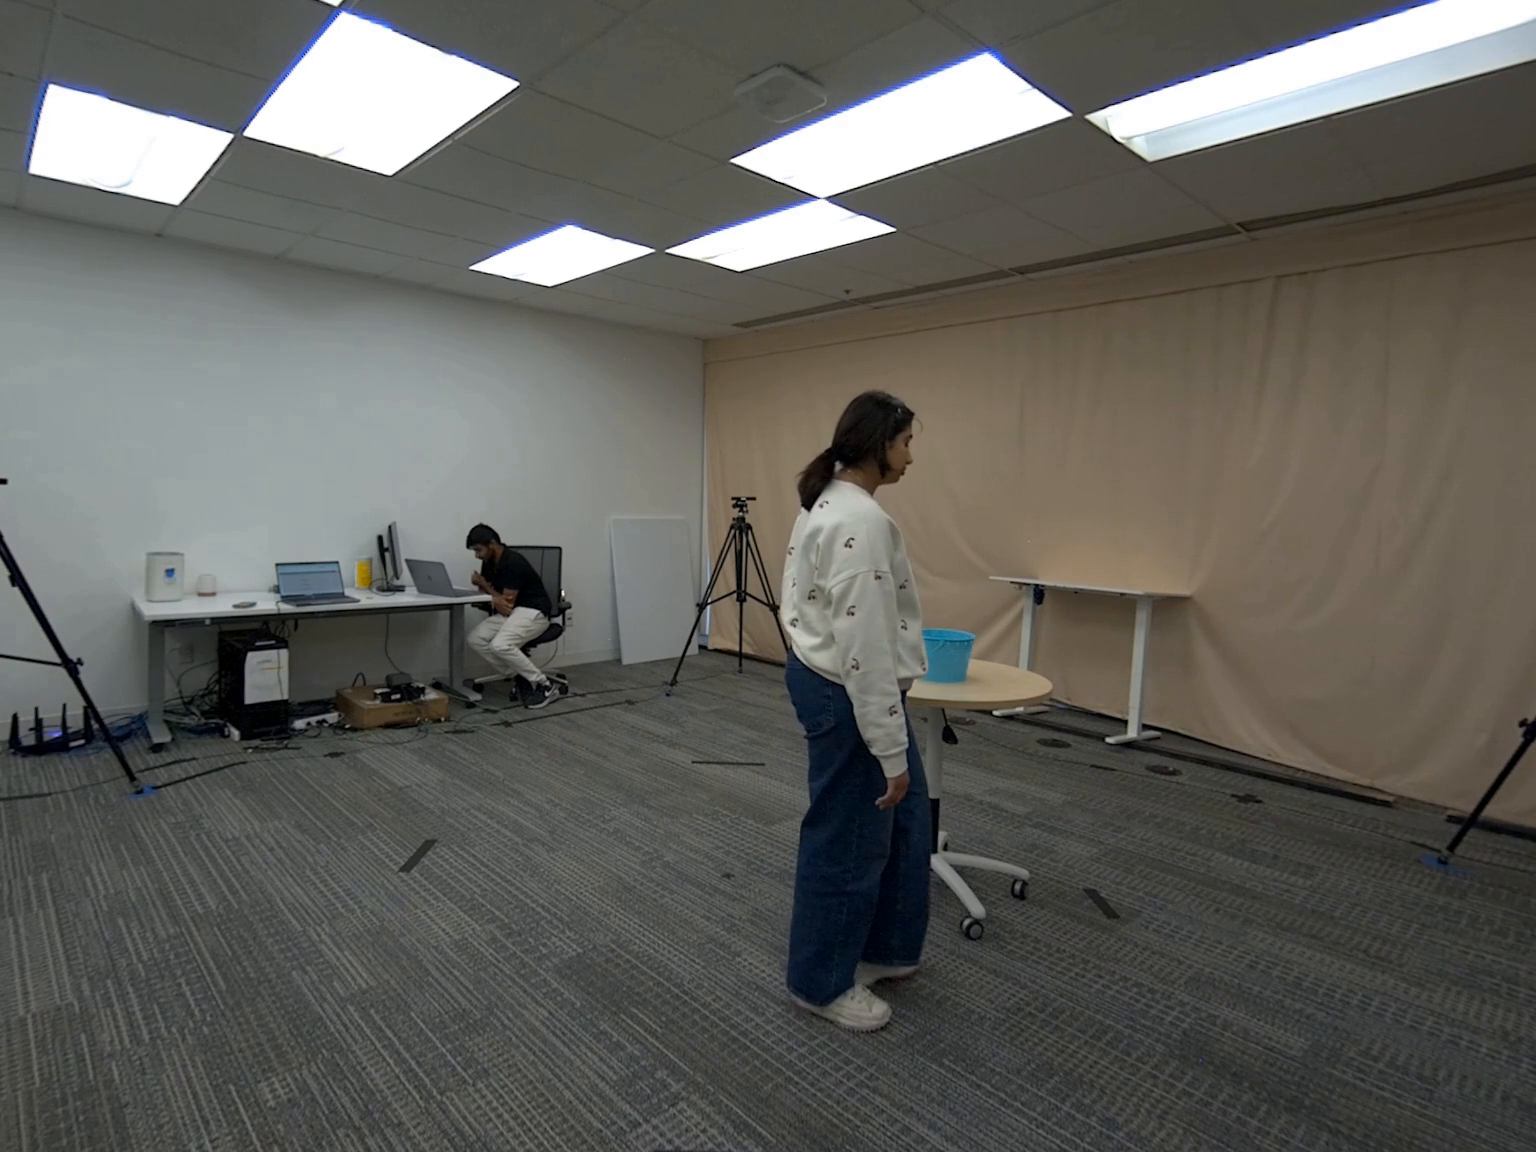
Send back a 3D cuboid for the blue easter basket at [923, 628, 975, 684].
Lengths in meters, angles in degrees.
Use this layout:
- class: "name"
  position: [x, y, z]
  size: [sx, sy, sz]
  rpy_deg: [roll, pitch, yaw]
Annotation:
- class: "blue easter basket"
  position: [0.610, 0.285, 2.962]
  size: [0.243, 0.155, 0.244]
  rpy_deg: [3, 4, -2]
